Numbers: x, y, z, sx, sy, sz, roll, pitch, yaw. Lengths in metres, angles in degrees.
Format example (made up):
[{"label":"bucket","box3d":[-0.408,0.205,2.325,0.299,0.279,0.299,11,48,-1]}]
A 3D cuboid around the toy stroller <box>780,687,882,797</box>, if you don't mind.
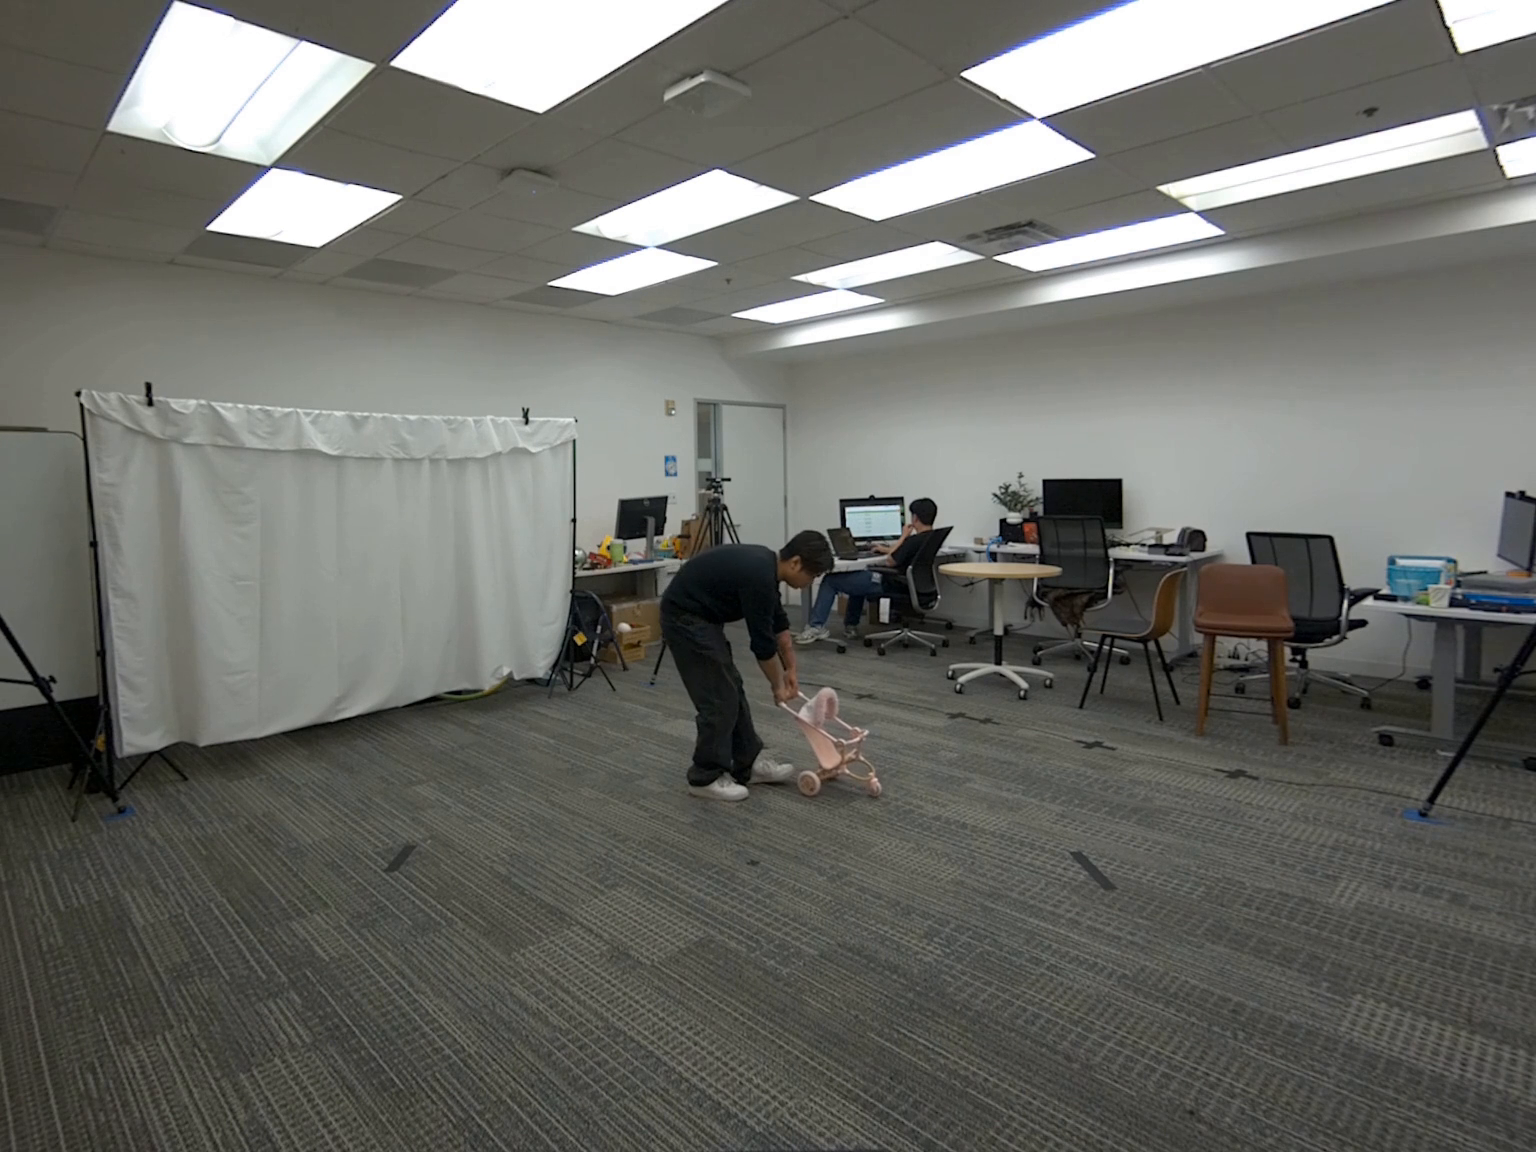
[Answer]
[{"label":"toy stroller","box3d":[0.281,0.731,3.807,0.347,0.539,0.275,-21,-7,33]}]
